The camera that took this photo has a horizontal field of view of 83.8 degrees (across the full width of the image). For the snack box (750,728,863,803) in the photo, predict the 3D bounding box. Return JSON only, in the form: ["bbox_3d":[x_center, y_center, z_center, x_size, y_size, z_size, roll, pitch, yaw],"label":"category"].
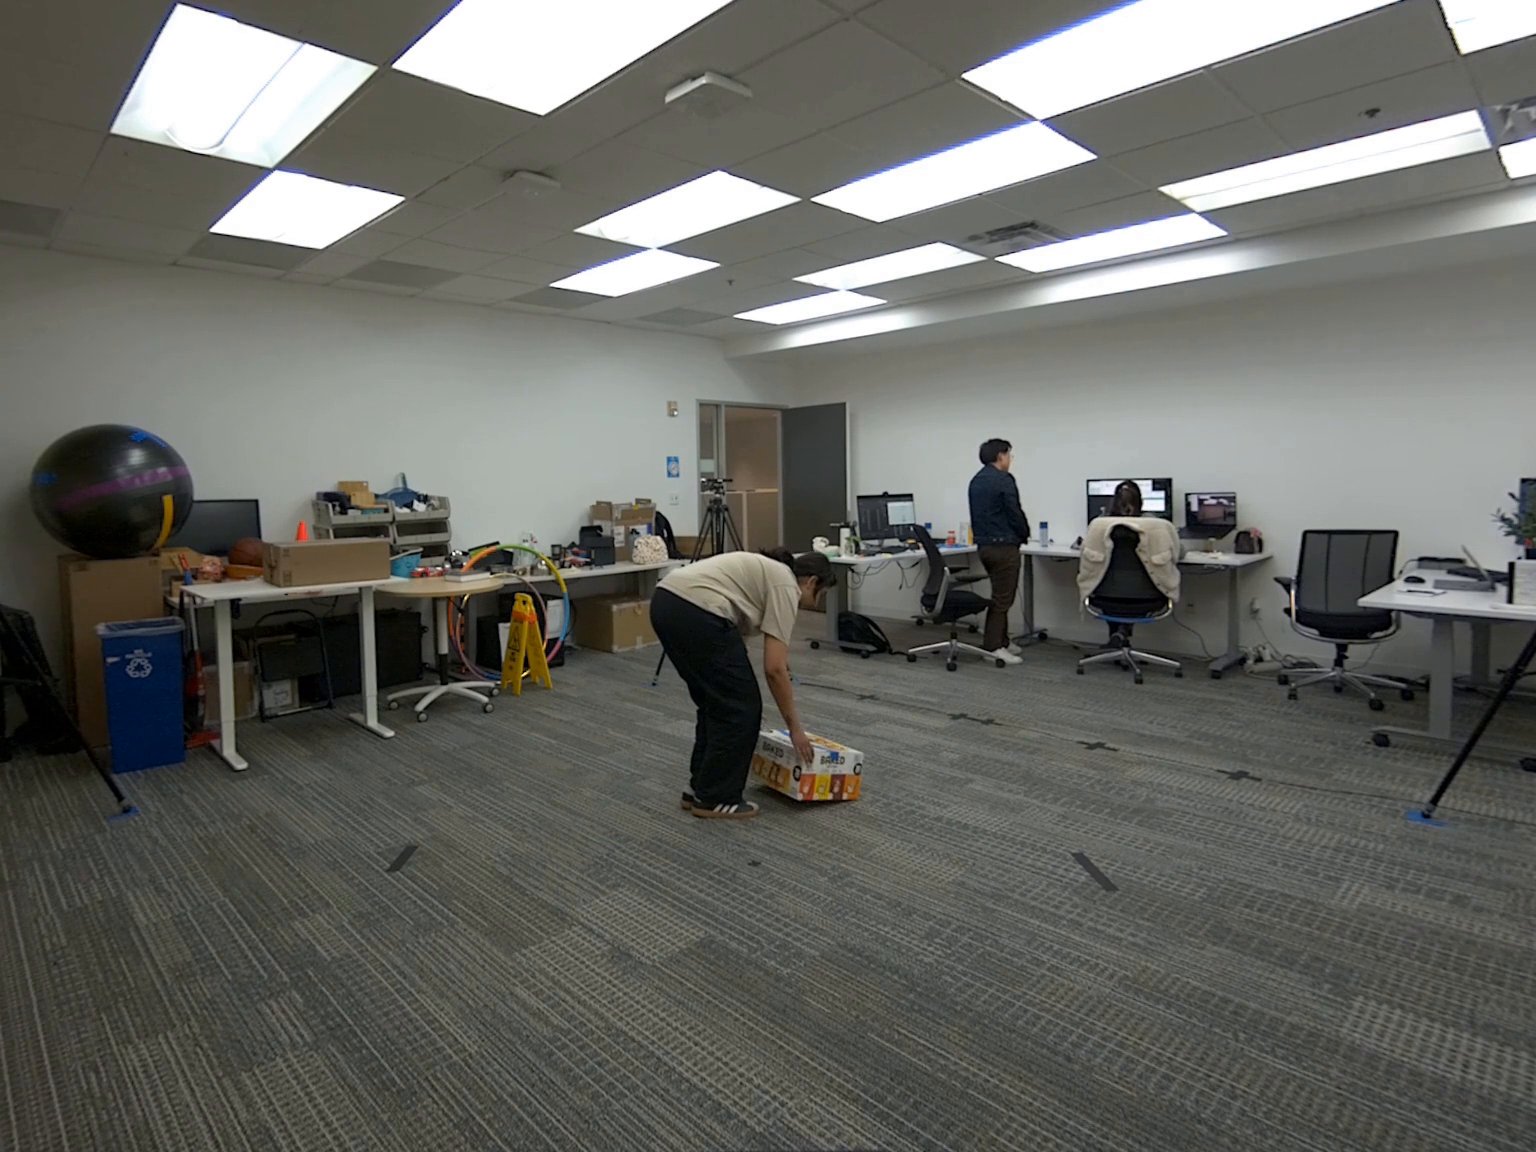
[{"bbox_3d":[0.149,0.828,3.798,0.330,0.206,0.417,11,-1,-35],"label":"snack box"}]
